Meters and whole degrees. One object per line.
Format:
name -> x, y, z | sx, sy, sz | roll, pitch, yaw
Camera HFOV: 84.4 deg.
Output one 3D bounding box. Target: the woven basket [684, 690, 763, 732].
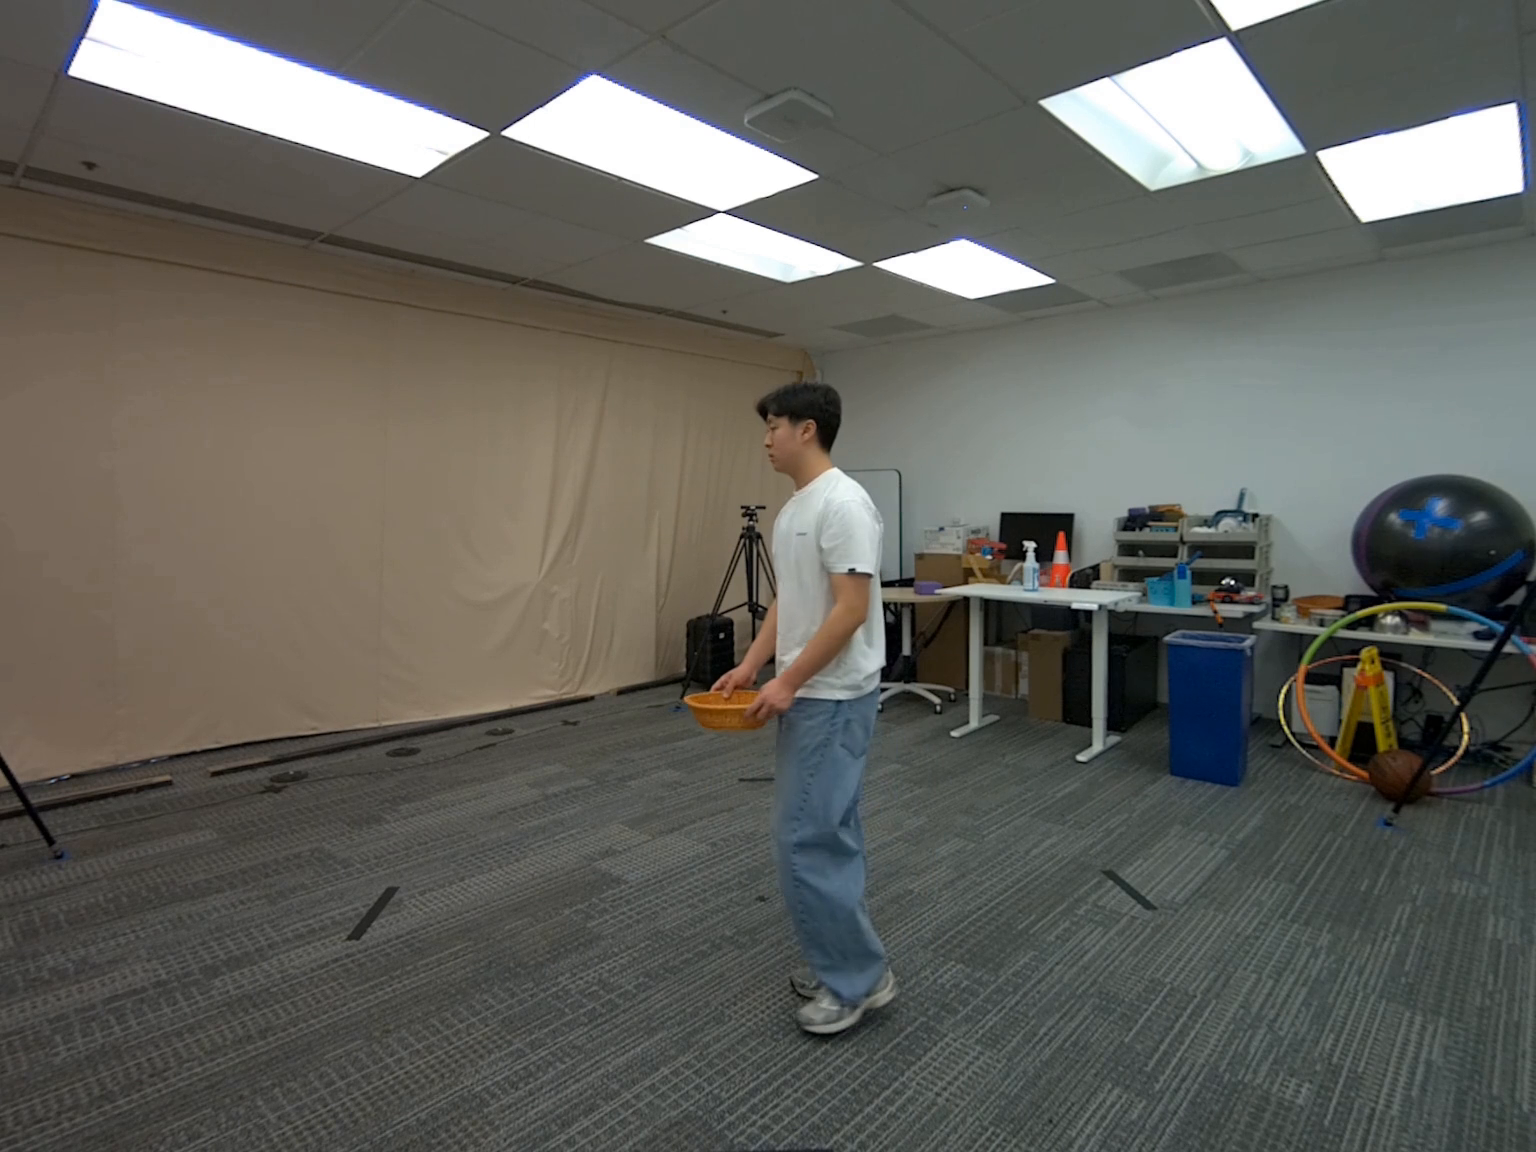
woven basket -> -0.086, 0.383, 2.377 | 0.247, 0.073, 0.357 | -1, -2, -23
